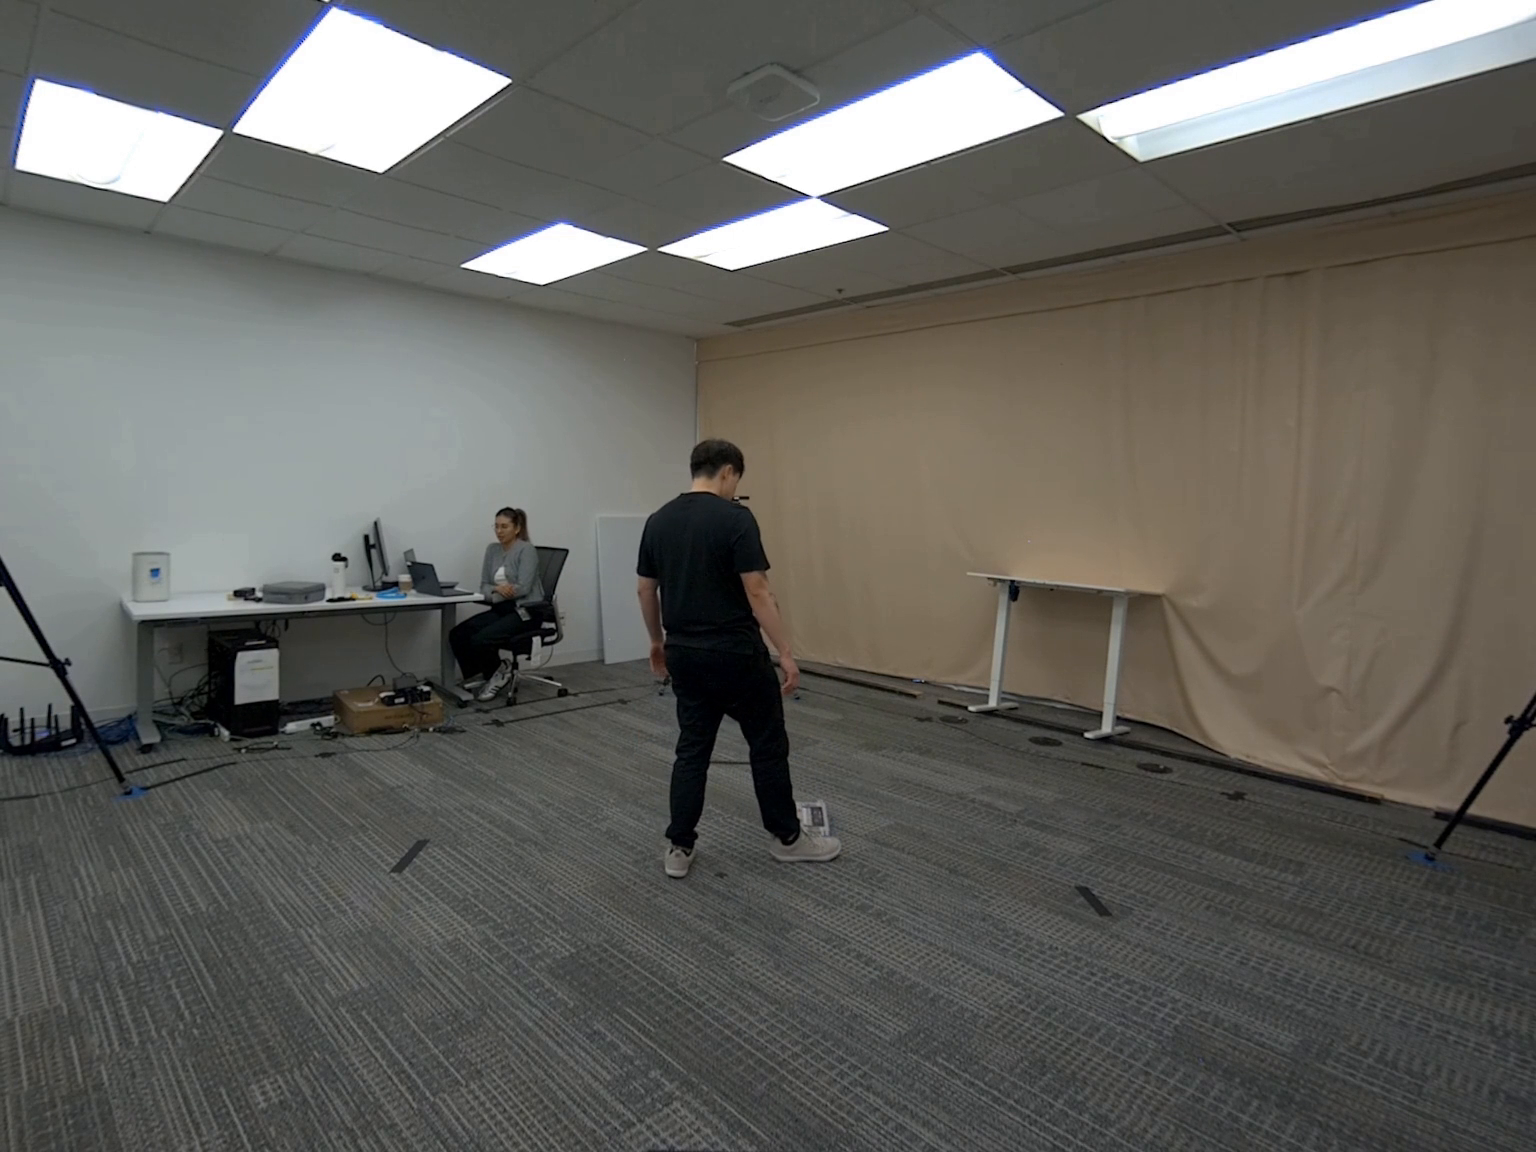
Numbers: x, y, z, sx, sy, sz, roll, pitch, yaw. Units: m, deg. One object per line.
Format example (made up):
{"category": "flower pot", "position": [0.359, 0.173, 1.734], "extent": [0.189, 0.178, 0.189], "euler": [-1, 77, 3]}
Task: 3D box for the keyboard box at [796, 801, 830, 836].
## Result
{"category": "keyboard box", "position": [0.154, 1.044, 3.555], "extent": [0.176, 0.059, 0.437], "euler": [1, 5, 1]}
